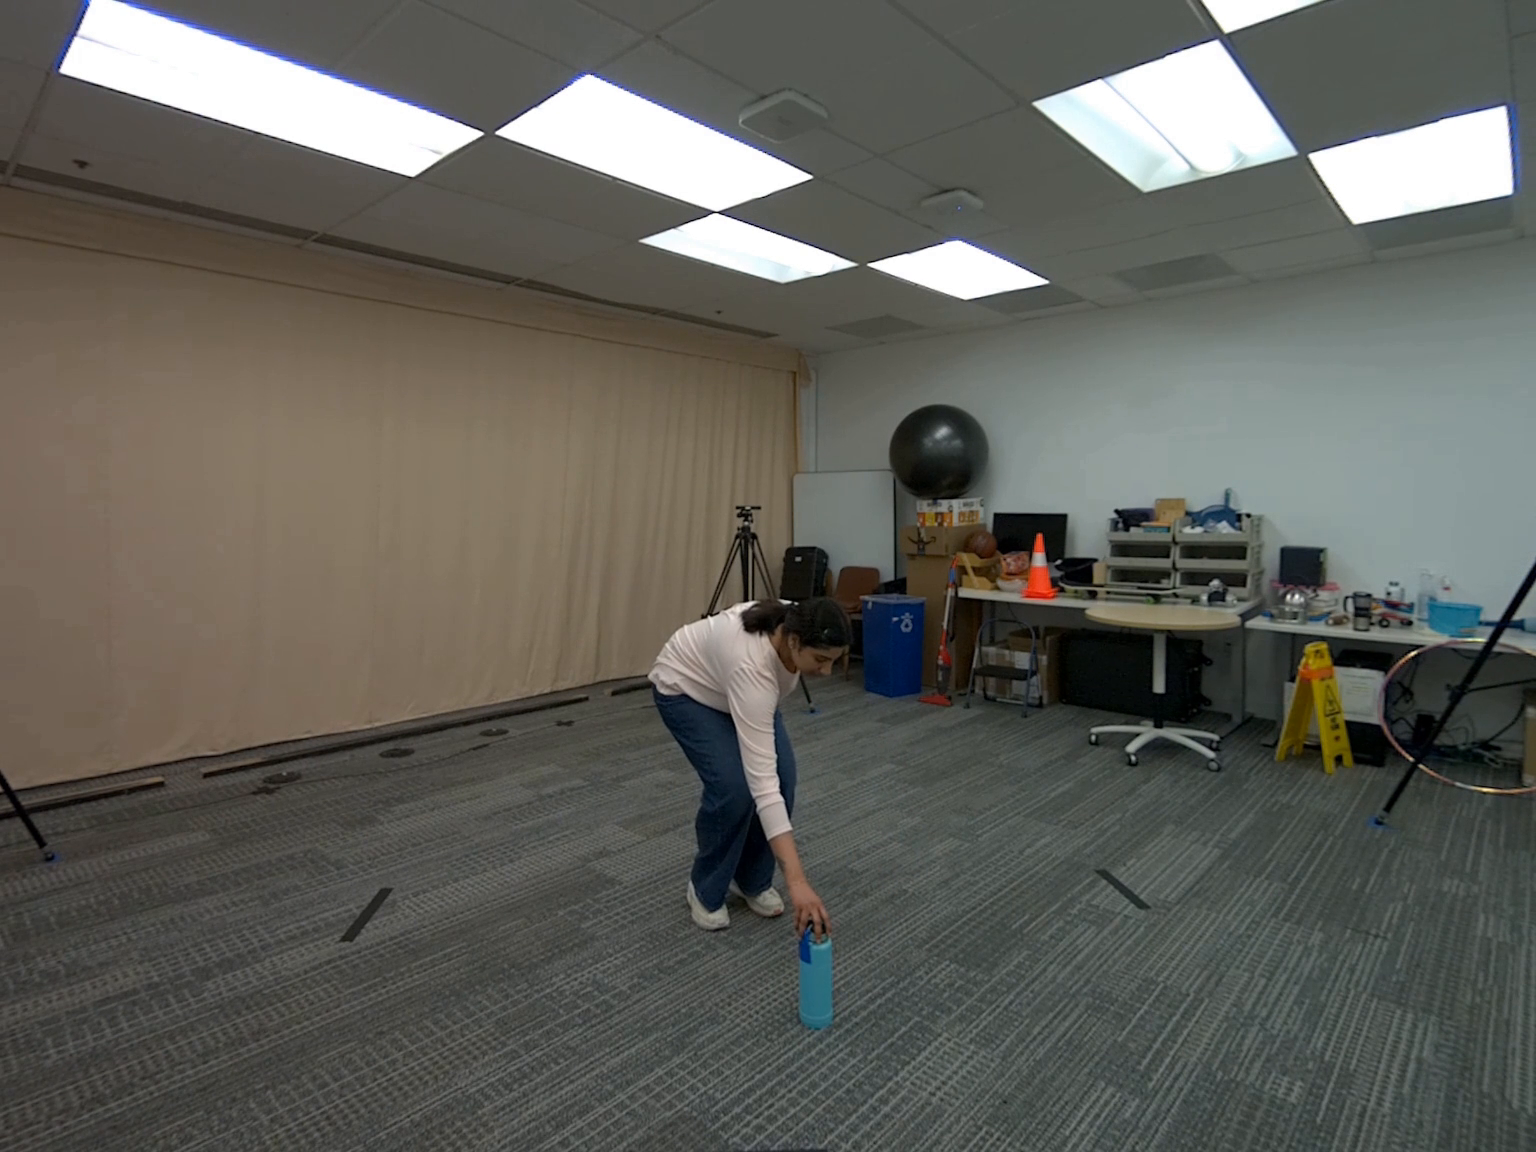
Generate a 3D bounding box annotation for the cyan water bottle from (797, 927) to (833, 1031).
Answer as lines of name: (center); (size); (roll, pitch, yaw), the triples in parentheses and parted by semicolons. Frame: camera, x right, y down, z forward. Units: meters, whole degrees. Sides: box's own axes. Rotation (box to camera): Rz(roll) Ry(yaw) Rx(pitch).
cyan water bottle: (0.134, 1.064, 2.274); (0.092, 0.283, 0.092); (0, 3, -2)
